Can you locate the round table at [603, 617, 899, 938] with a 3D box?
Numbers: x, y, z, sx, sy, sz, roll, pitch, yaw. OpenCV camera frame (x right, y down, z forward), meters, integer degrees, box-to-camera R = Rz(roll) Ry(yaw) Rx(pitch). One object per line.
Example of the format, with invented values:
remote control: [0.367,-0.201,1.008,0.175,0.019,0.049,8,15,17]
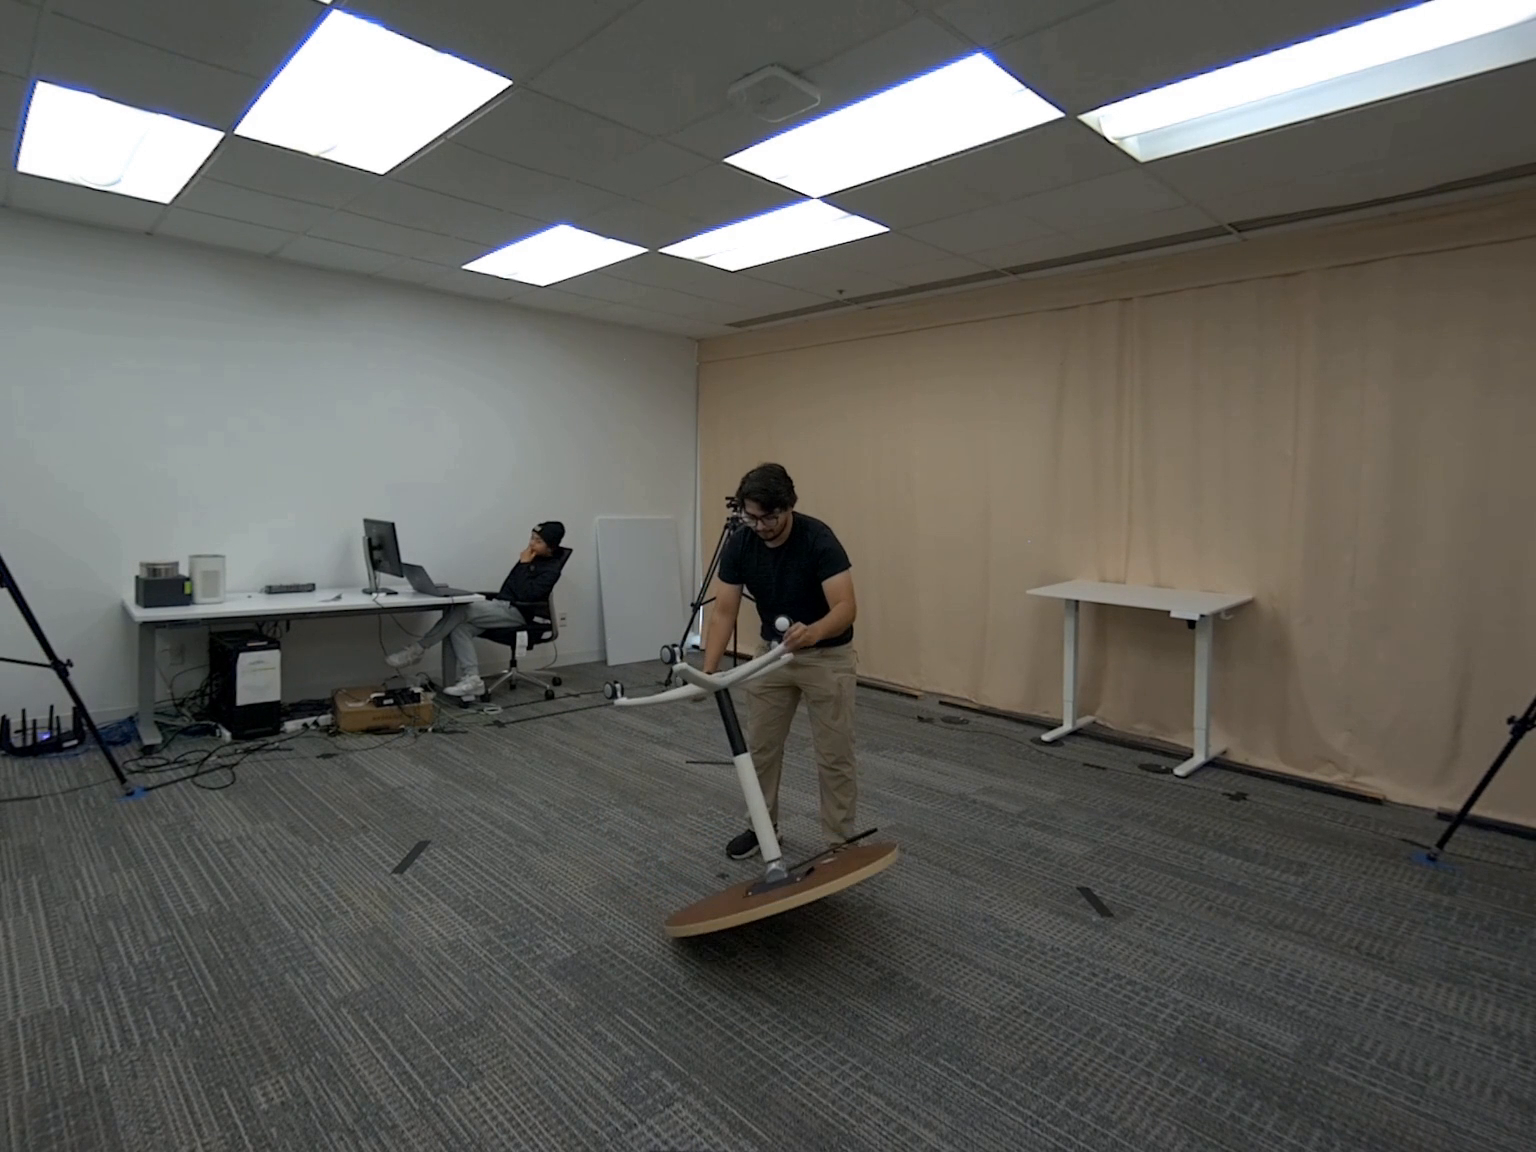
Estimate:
round table: [-0.091,0.620,2.715,0.782,0.798,0.776,-17,-15,-6]
